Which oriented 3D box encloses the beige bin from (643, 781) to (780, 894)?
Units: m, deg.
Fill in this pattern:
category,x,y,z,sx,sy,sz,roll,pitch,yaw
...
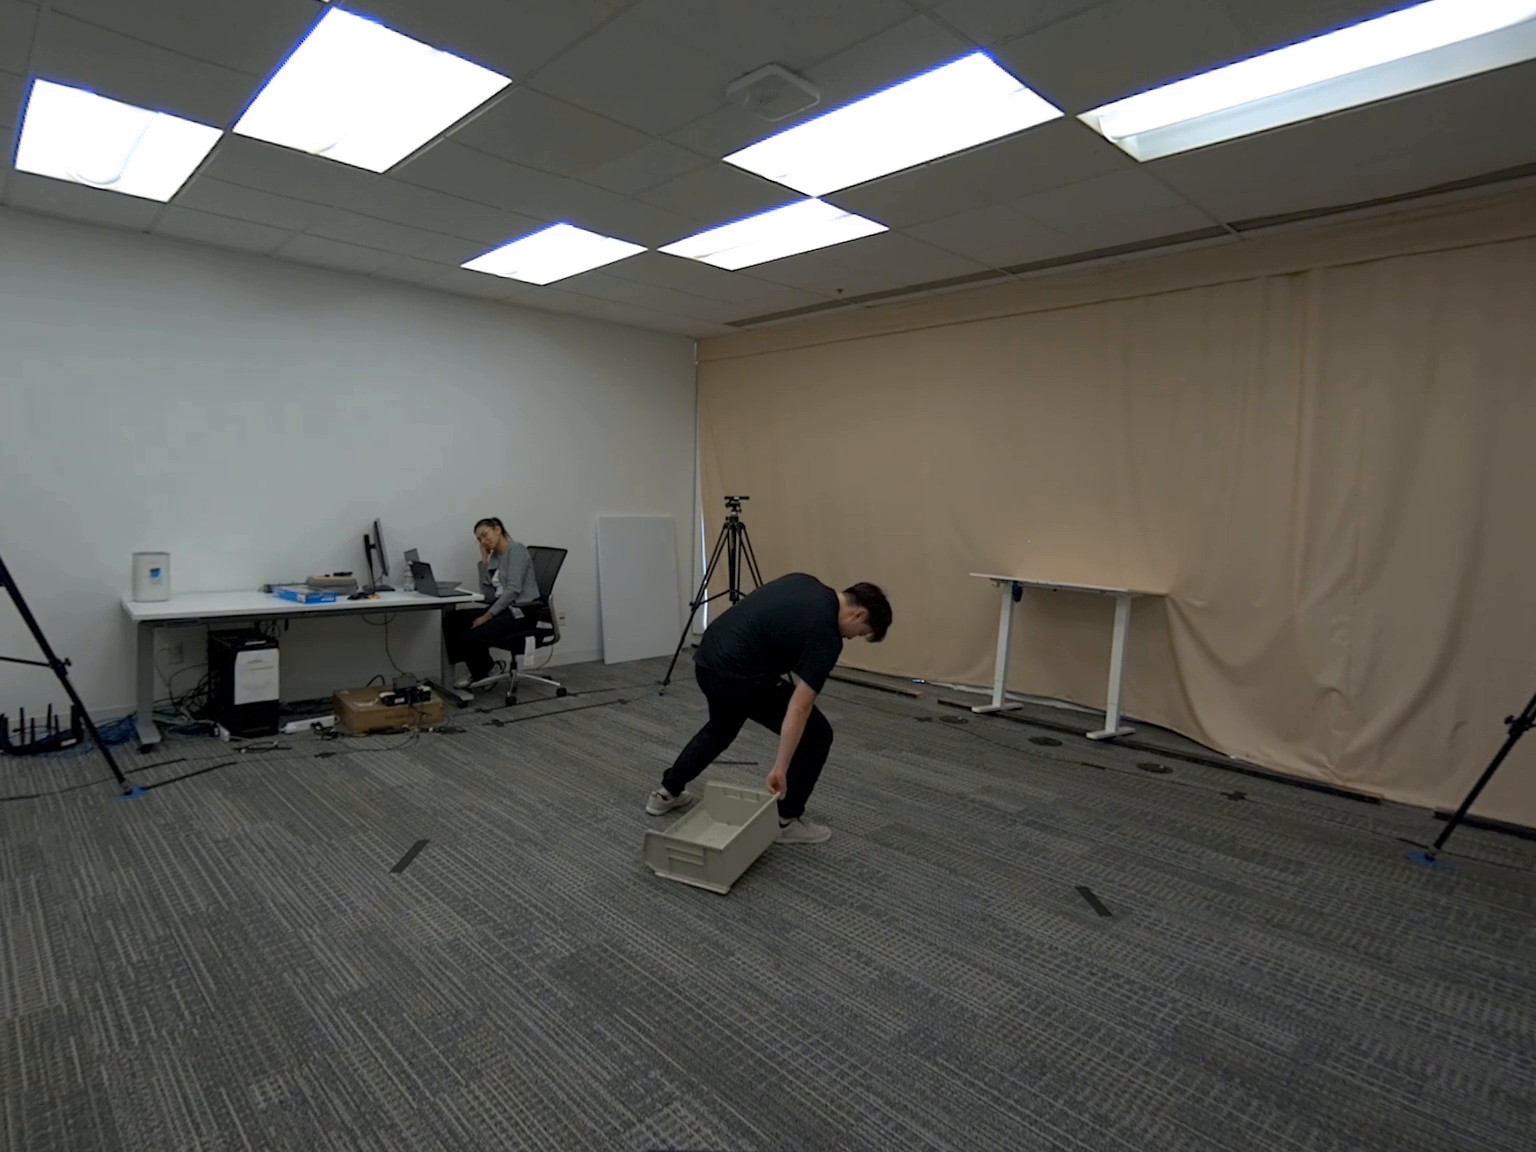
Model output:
category,x,y,z,sx,sy,sz,roll,pitch,yaw
beige bin,-0.213,0.968,3.170,0.386,0.187,0.417,2,14,32
